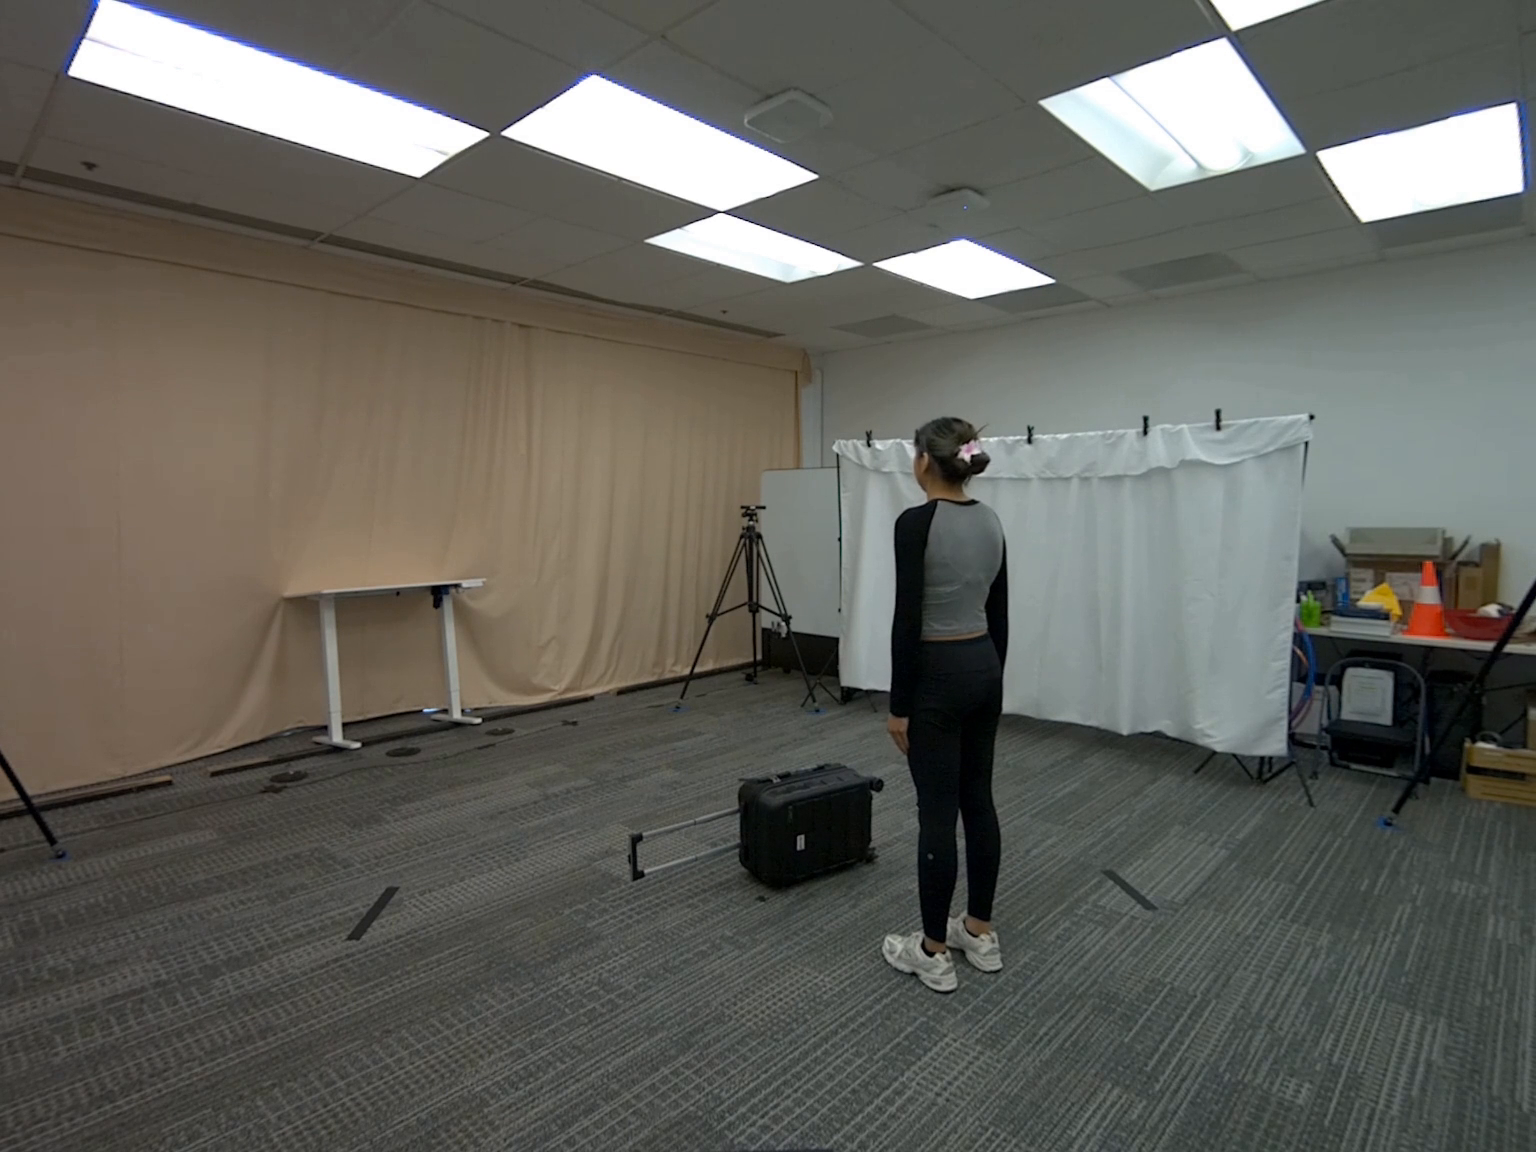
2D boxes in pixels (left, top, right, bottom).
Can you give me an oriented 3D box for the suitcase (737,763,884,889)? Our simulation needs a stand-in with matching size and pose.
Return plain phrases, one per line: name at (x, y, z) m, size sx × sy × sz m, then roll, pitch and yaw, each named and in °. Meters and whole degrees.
suitcase at (-0.012, 0.945, 3.089) m, size 0.950 × 0.383 × 0.265 m, roll -3°, pitch 5°, yaw -35°
